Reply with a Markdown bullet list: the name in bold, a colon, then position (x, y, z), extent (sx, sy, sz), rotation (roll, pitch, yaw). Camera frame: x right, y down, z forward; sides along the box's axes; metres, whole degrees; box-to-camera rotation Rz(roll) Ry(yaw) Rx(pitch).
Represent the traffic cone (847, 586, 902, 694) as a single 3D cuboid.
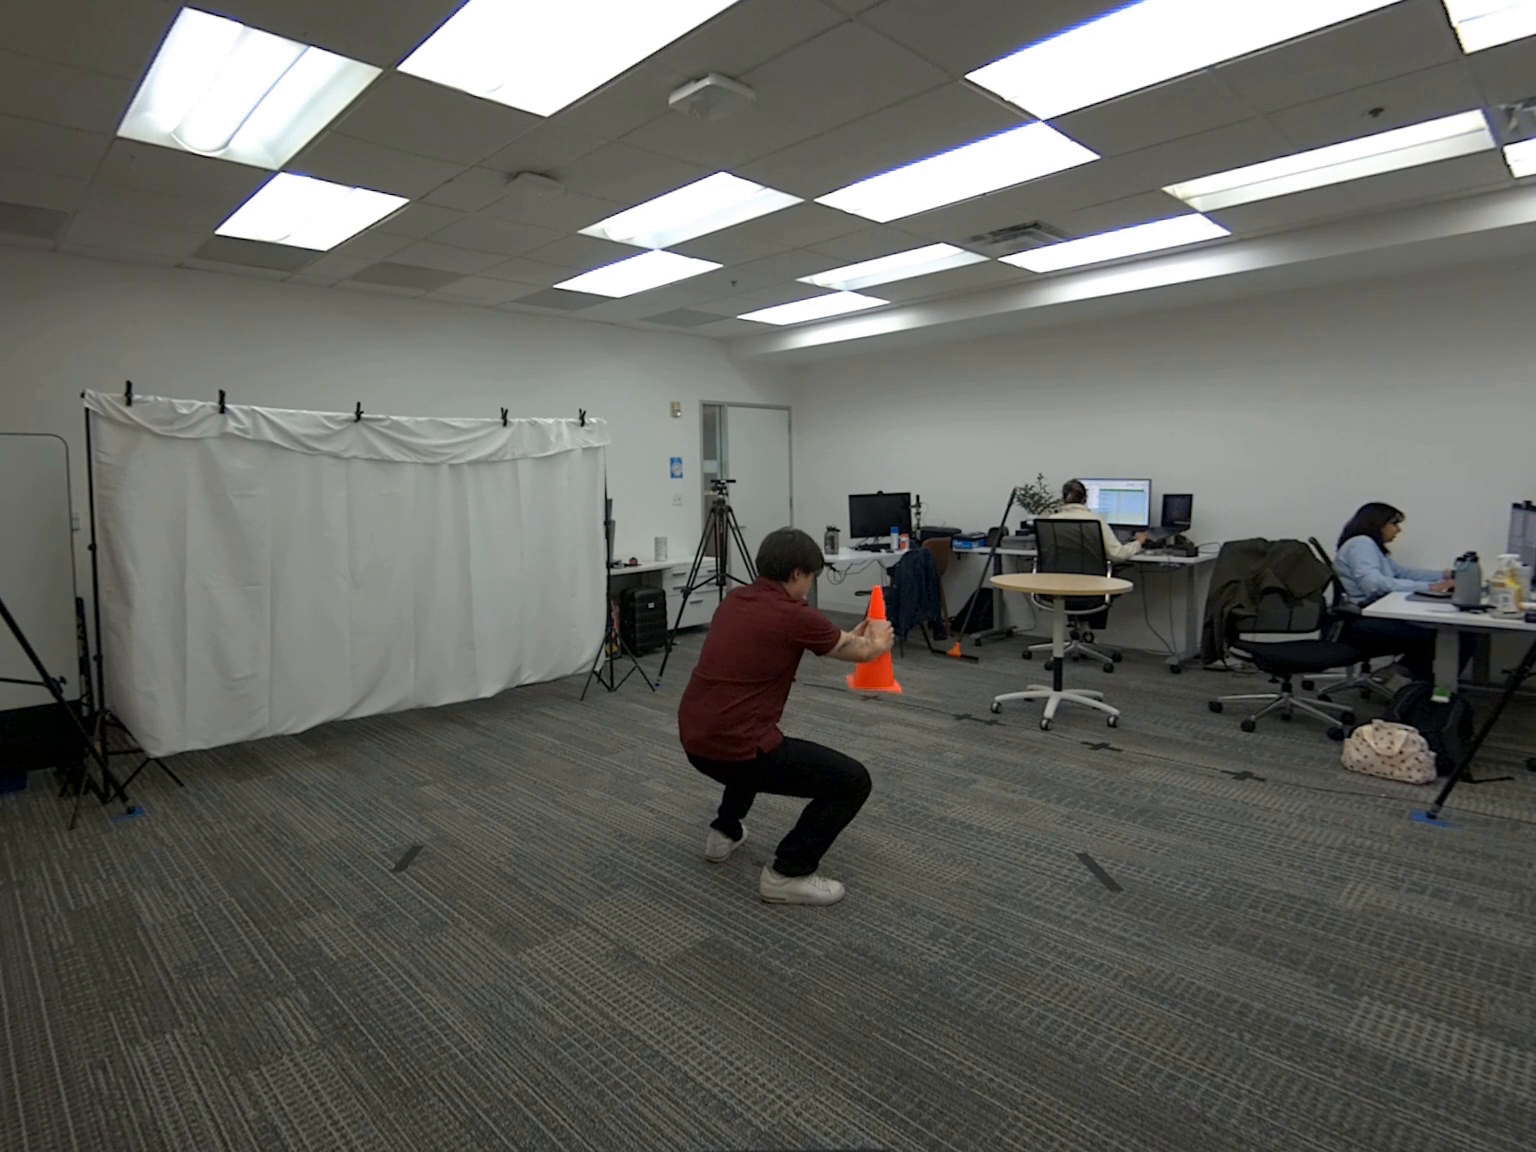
- **traffic cone**: position (0.413, 0.230, 3.308), extent (0.206, 0.382, 0.203), rotation (2, 4, 2)
